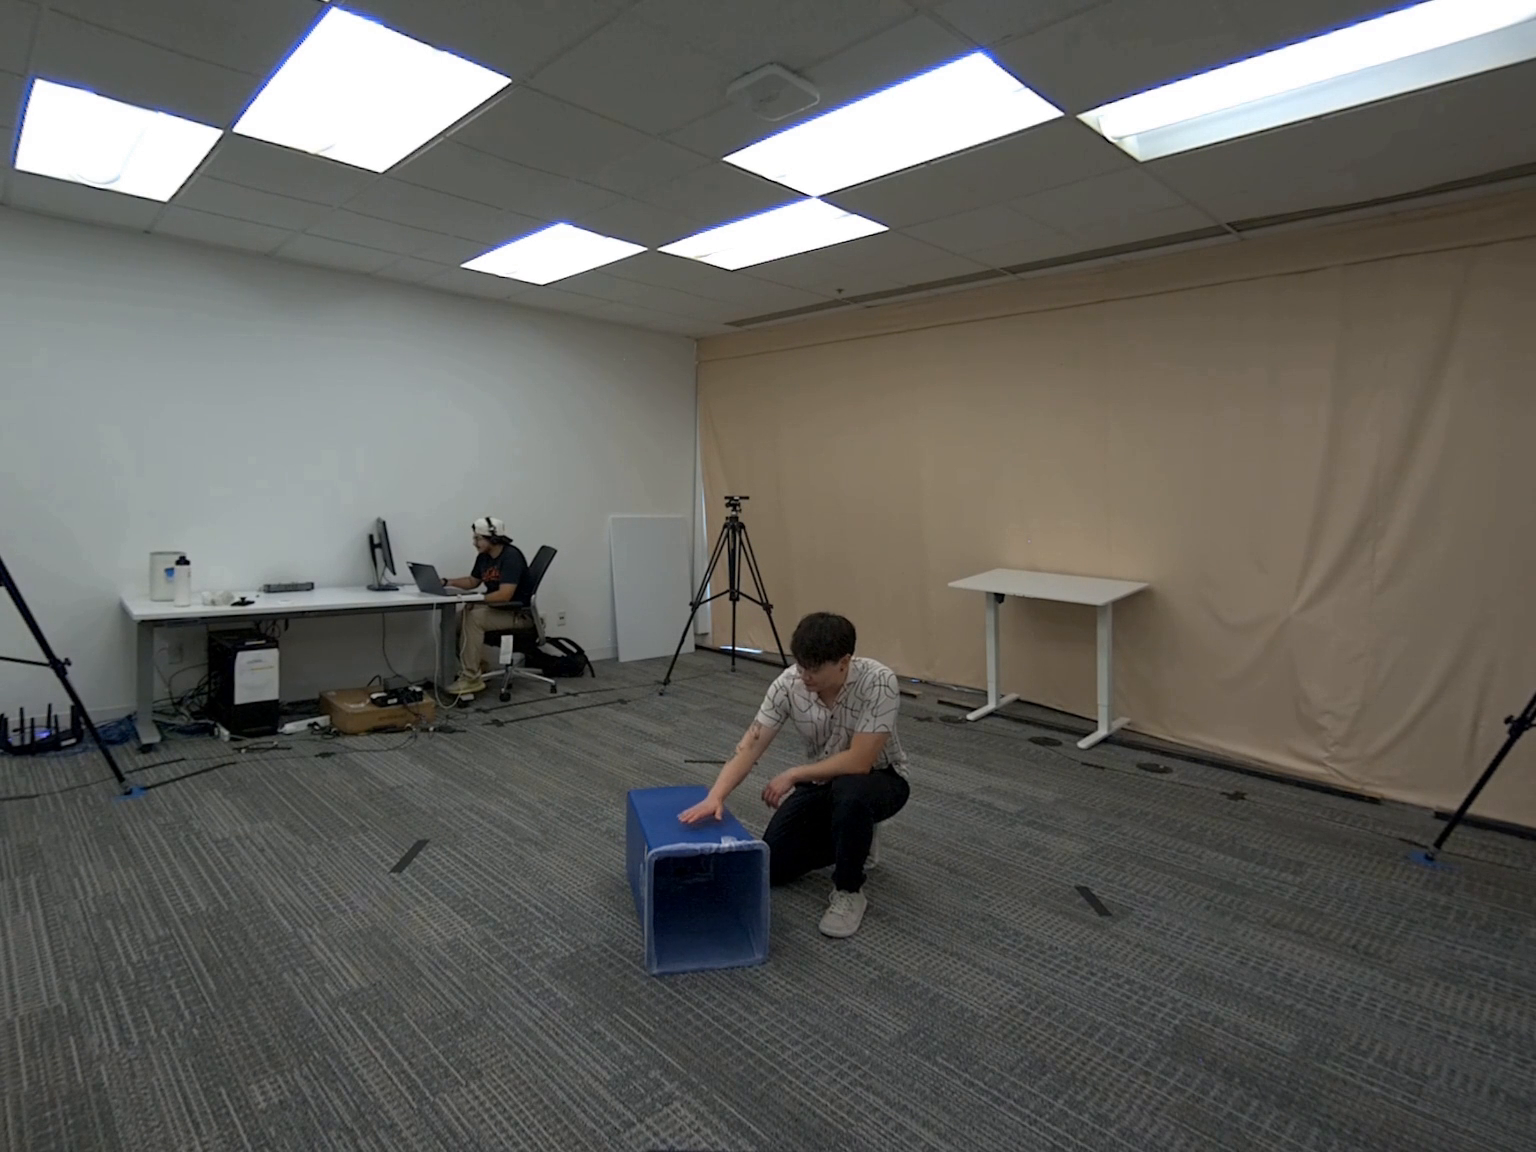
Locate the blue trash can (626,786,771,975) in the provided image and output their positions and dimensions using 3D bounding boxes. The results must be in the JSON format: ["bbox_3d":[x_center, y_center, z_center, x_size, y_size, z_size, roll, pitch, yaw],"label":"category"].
[{"bbox_3d":[-0.275,0.960,2.807,0.373,0.374,0.722,1,1,-16],"label":"blue trash can"}]
